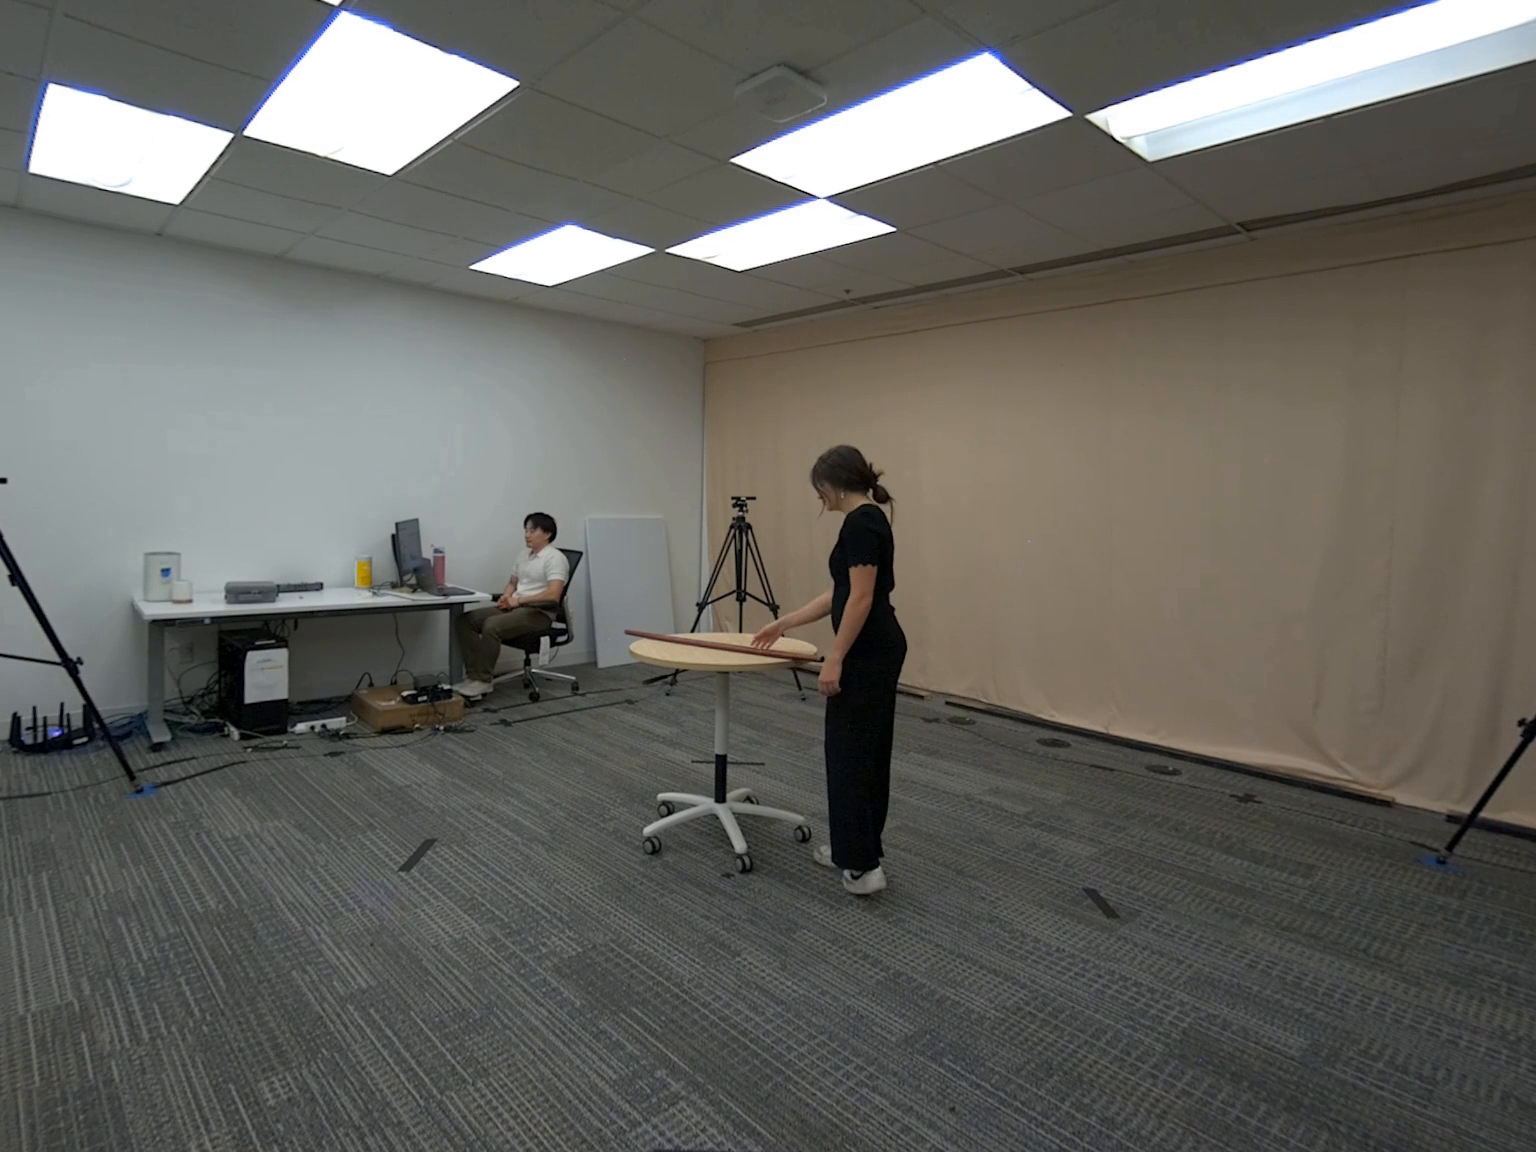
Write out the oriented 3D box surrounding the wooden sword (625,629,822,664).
[{"bbox_3d":[-0.252,0.278,3.441,1.048,0.024,0.050,4,7,32],"label":"wooden sword"}]
